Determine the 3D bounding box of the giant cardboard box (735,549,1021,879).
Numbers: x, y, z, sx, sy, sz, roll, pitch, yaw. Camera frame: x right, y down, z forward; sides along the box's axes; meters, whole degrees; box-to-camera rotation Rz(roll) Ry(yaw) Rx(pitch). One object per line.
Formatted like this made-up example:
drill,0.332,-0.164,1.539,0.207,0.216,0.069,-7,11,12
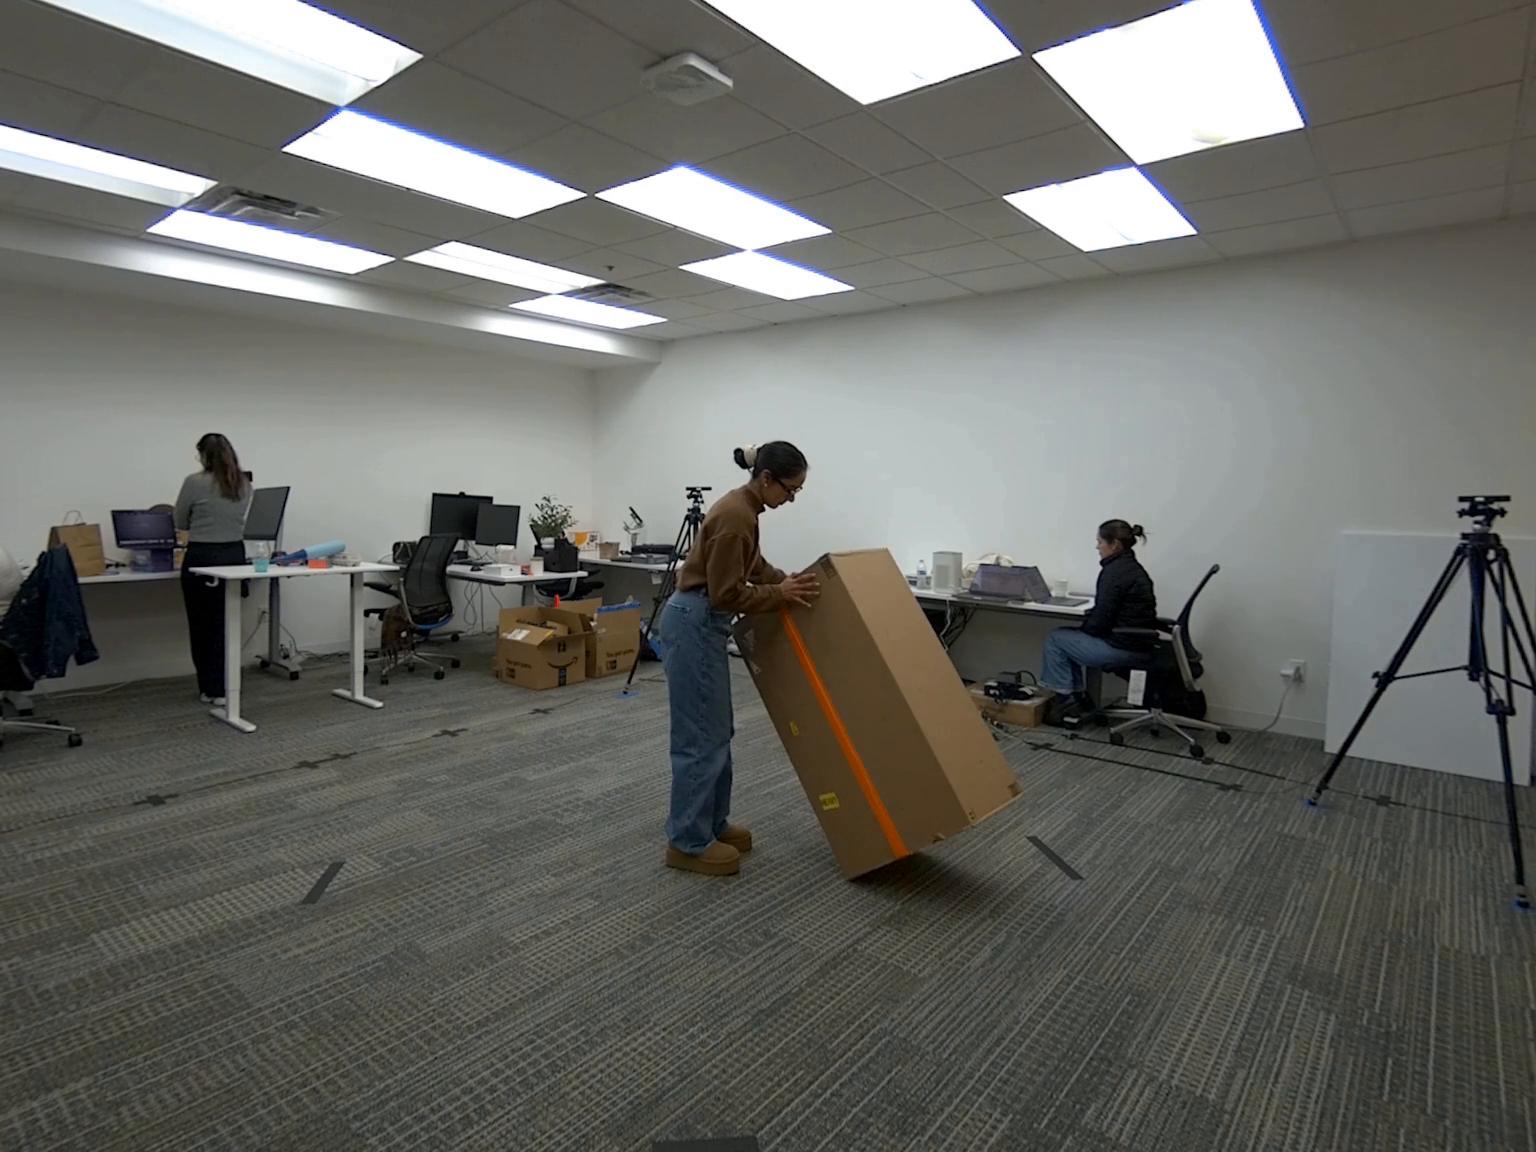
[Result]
giant cardboard box,0.373,0.490,3.190,0.413,1.052,0.580,-3,-29,-48
